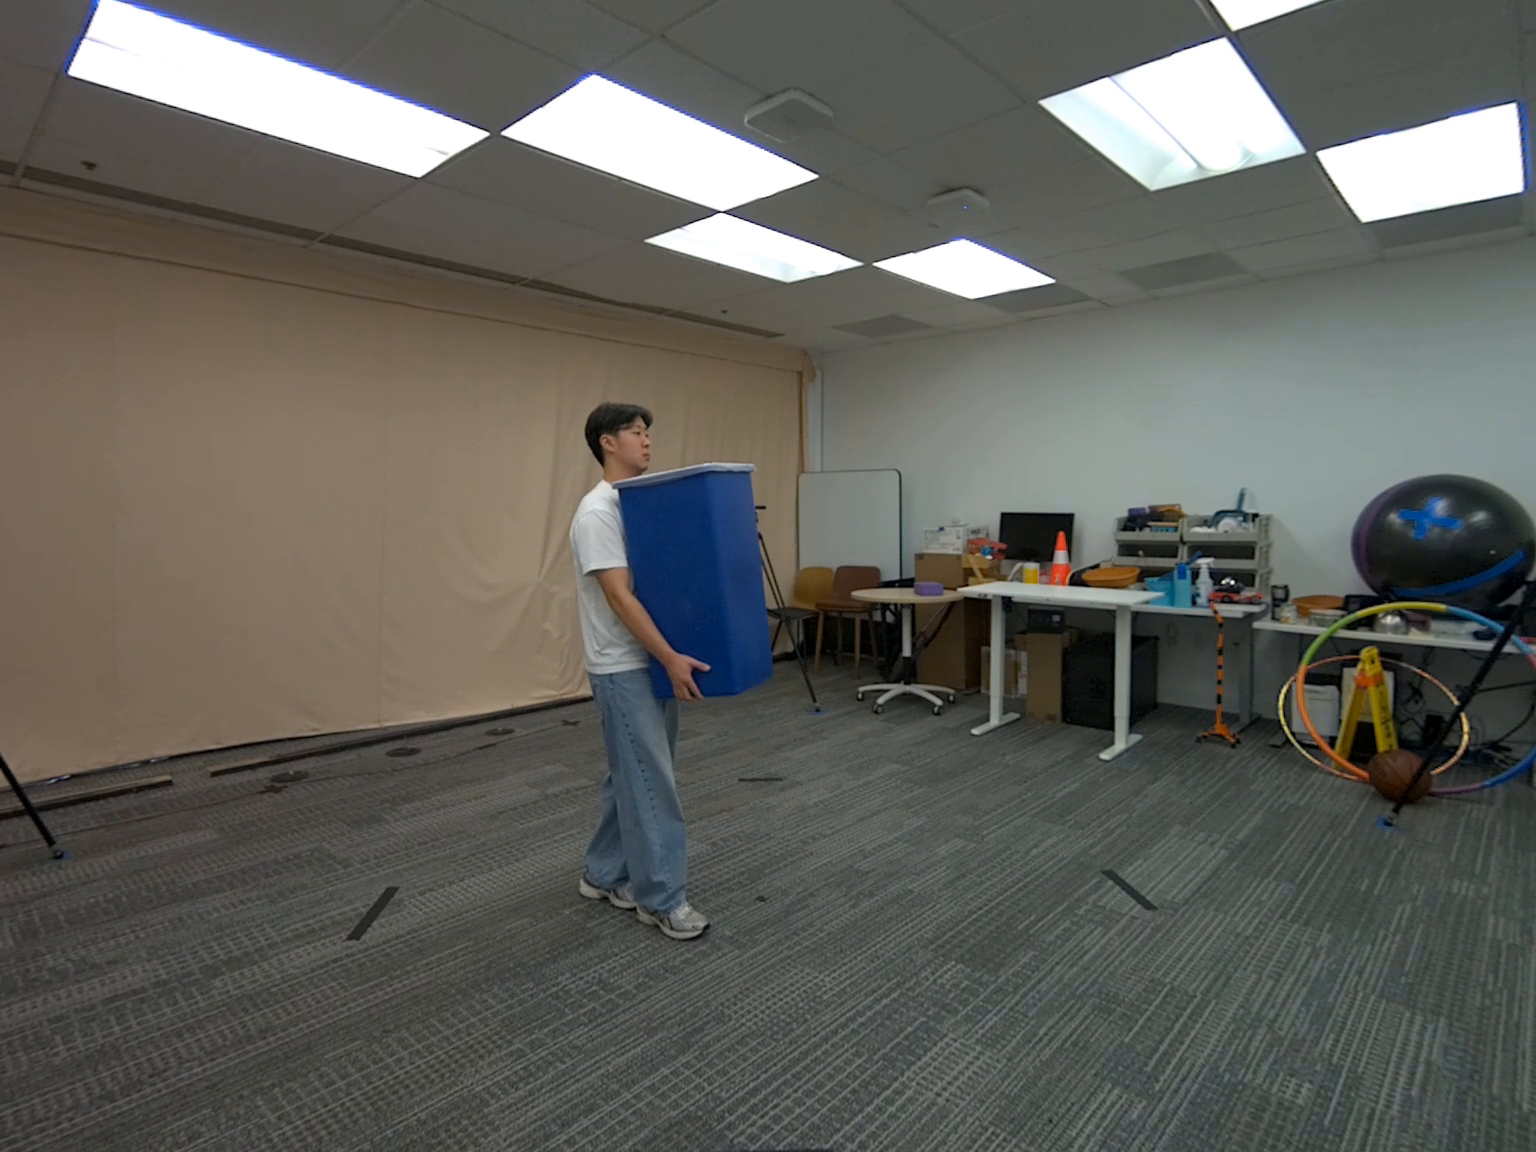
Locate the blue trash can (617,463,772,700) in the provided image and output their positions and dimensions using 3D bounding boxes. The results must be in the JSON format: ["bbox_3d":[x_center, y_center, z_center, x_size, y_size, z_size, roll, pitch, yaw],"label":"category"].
[{"bbox_3d":[-0.218,0.011,2.752,0.387,0.714,0.365,-9,0,26],"label":"blue trash can"}]
